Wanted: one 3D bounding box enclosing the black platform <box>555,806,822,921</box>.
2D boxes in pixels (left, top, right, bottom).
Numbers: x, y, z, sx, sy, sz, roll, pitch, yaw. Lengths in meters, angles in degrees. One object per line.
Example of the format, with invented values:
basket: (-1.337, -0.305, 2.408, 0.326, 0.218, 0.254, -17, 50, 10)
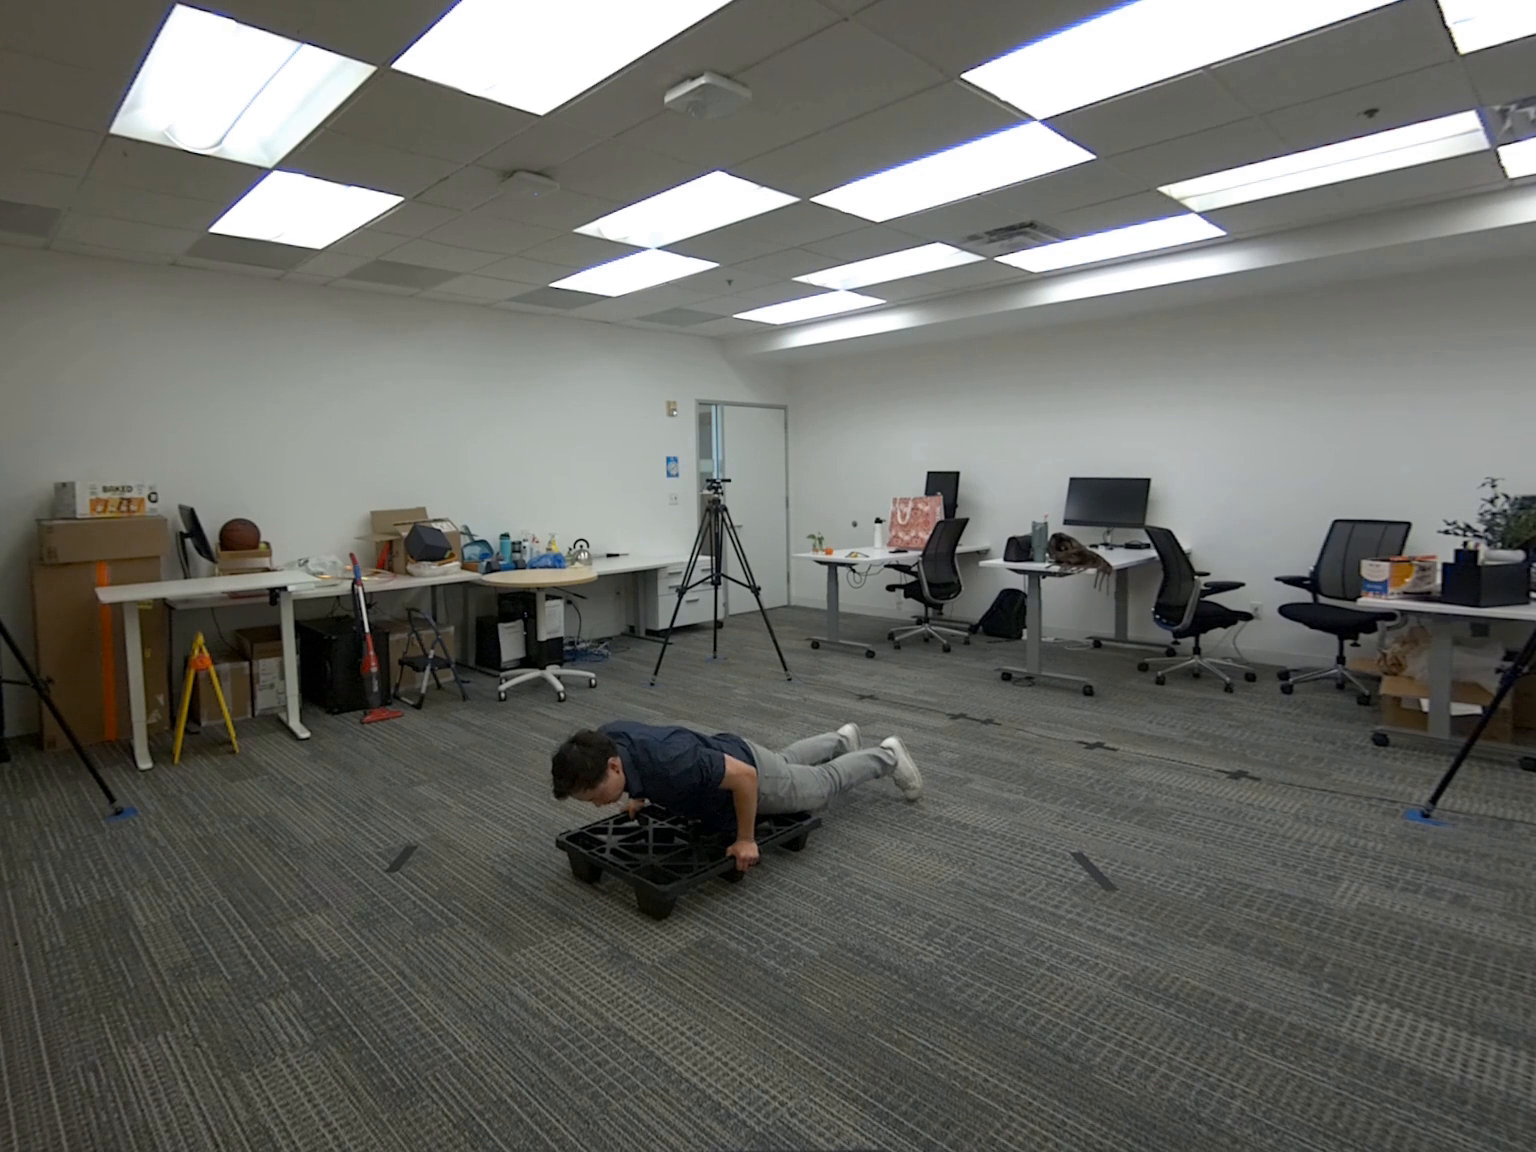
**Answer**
black platform: (-0.284, 0.981, 3.127, 0.624, 0.143, 0.784, 6, 9, 43)
